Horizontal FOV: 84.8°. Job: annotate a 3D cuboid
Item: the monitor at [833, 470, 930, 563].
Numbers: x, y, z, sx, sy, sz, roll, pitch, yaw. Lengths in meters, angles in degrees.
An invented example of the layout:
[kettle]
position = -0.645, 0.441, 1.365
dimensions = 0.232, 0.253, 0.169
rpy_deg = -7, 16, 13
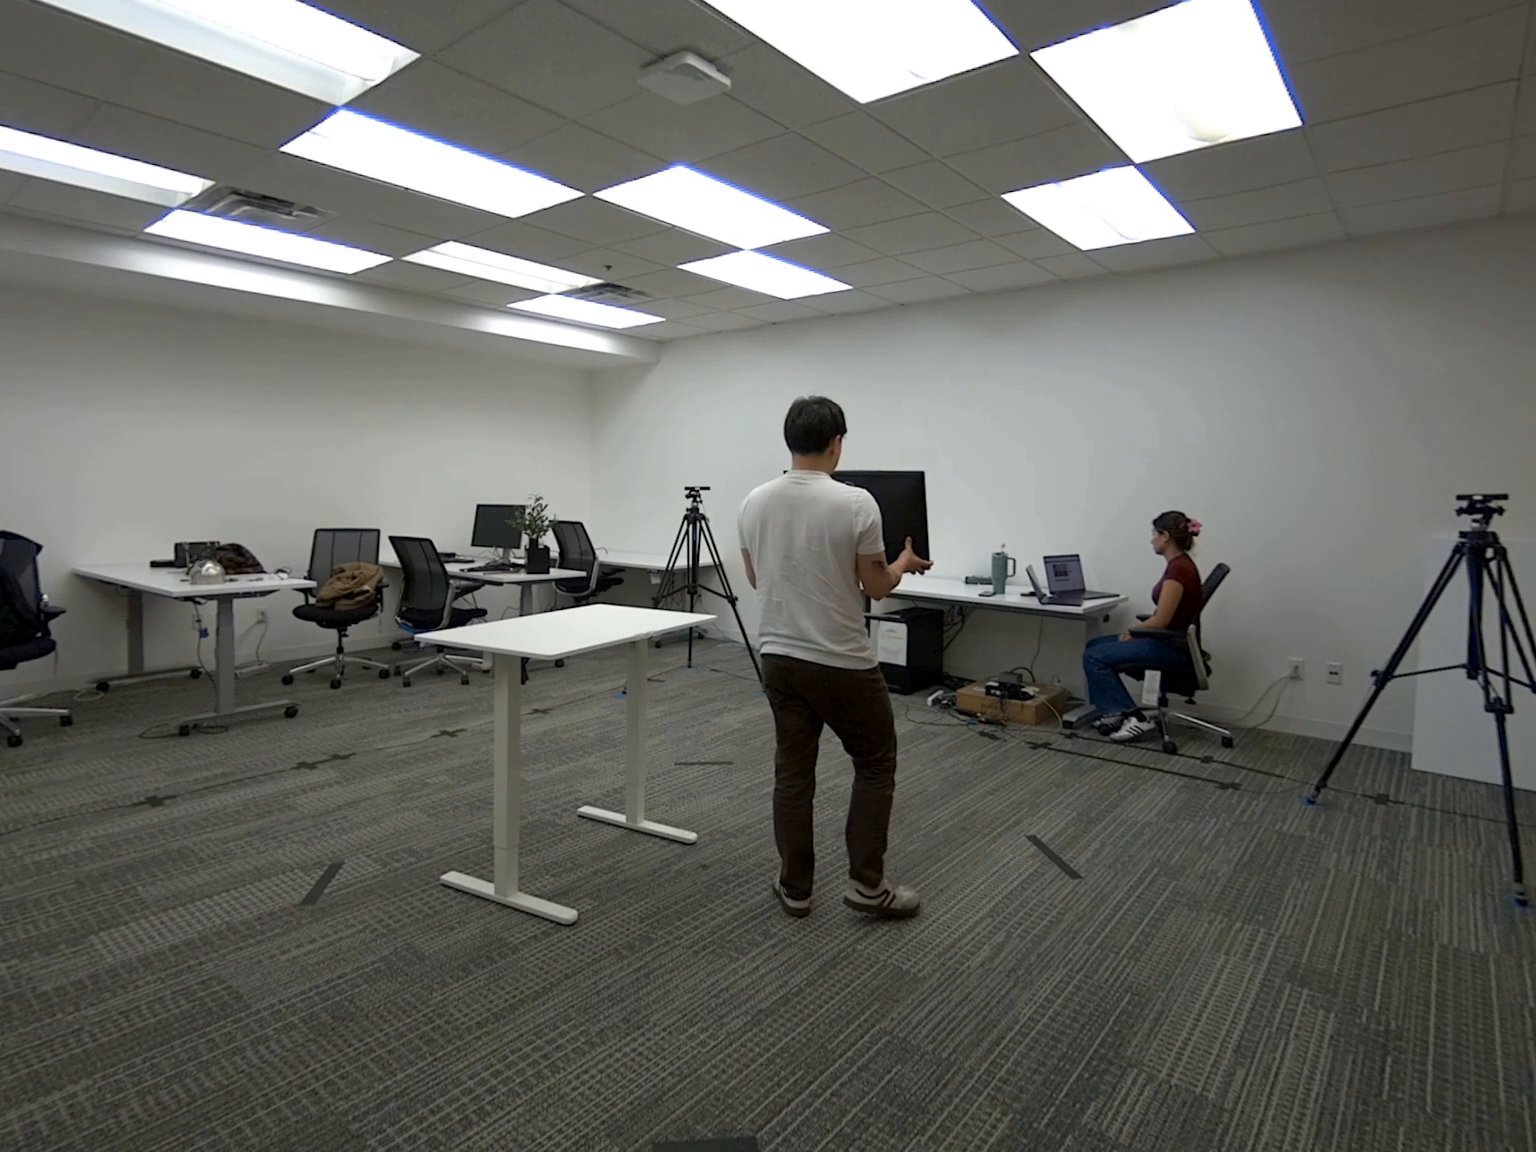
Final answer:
[monitor]
position = 0.286, -0.119, 3.023
dimensions = 0.555, 0.520, 0.182
rpy_deg = 4, 6, 31
